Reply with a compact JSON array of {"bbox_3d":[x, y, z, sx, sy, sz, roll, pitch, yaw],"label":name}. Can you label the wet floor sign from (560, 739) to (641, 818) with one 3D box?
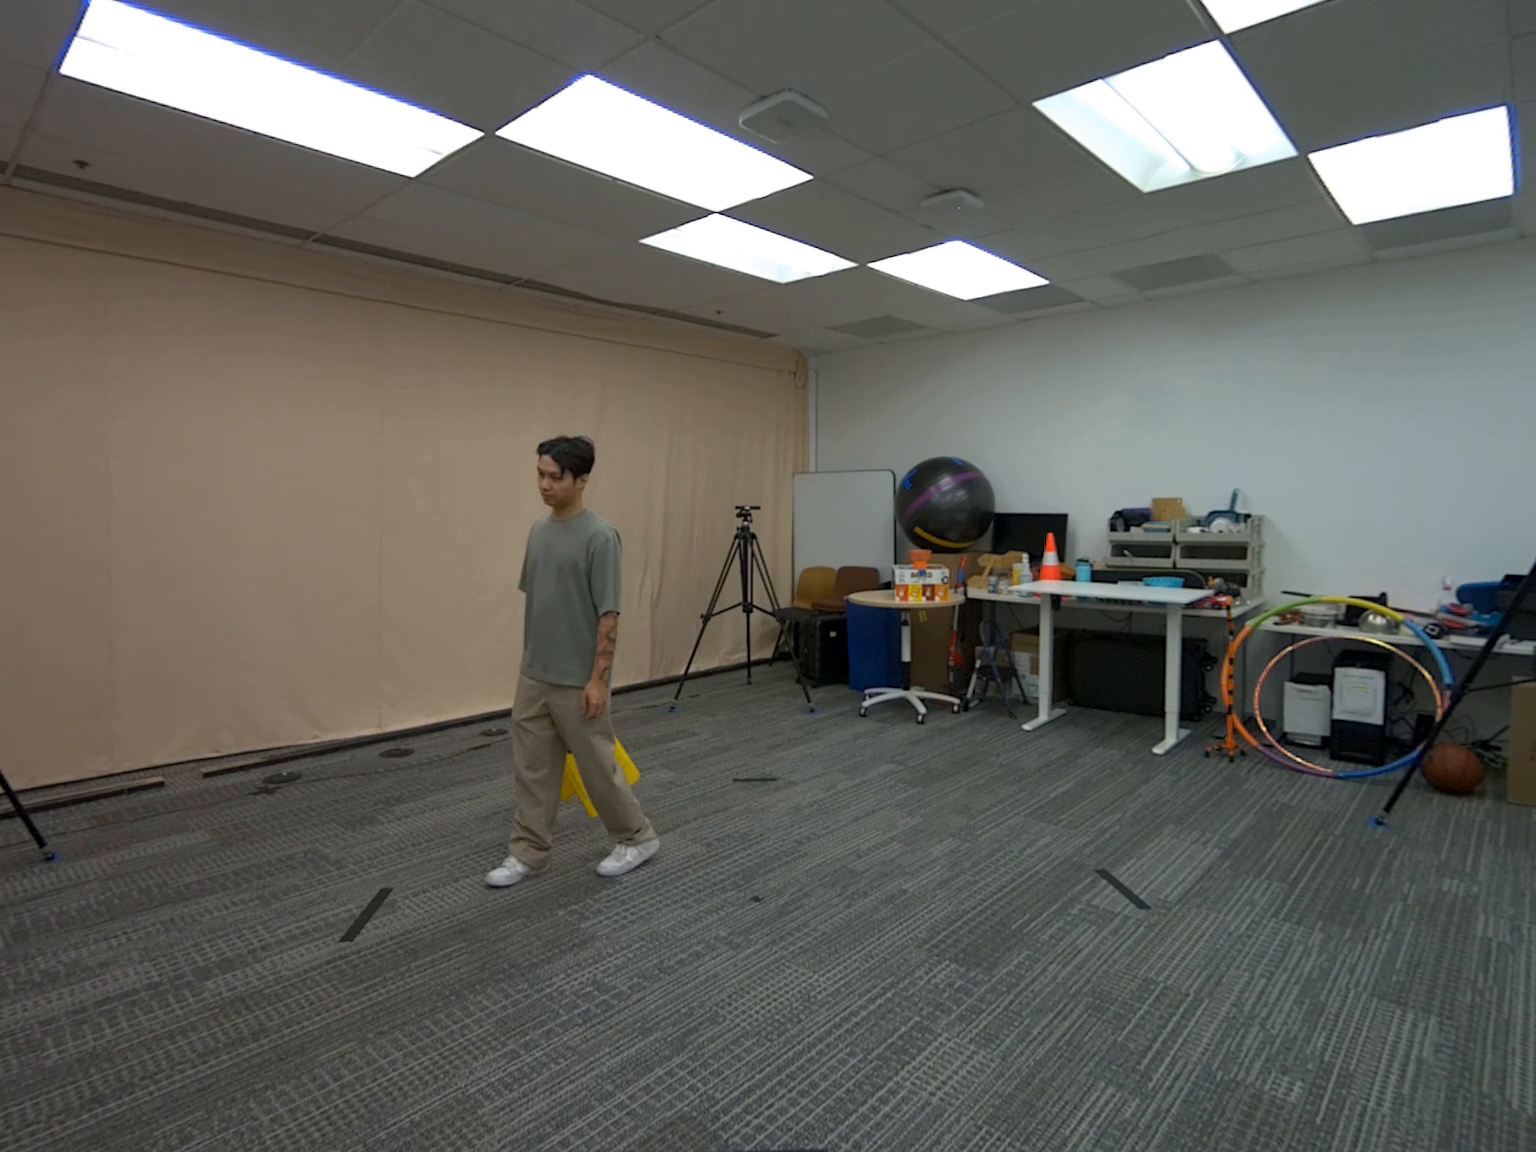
[{"bbox_3d":[-0.844,0.651,3.529,0.278,0.634,0.299,-35,25,-33],"label":"wet floor sign"}]
